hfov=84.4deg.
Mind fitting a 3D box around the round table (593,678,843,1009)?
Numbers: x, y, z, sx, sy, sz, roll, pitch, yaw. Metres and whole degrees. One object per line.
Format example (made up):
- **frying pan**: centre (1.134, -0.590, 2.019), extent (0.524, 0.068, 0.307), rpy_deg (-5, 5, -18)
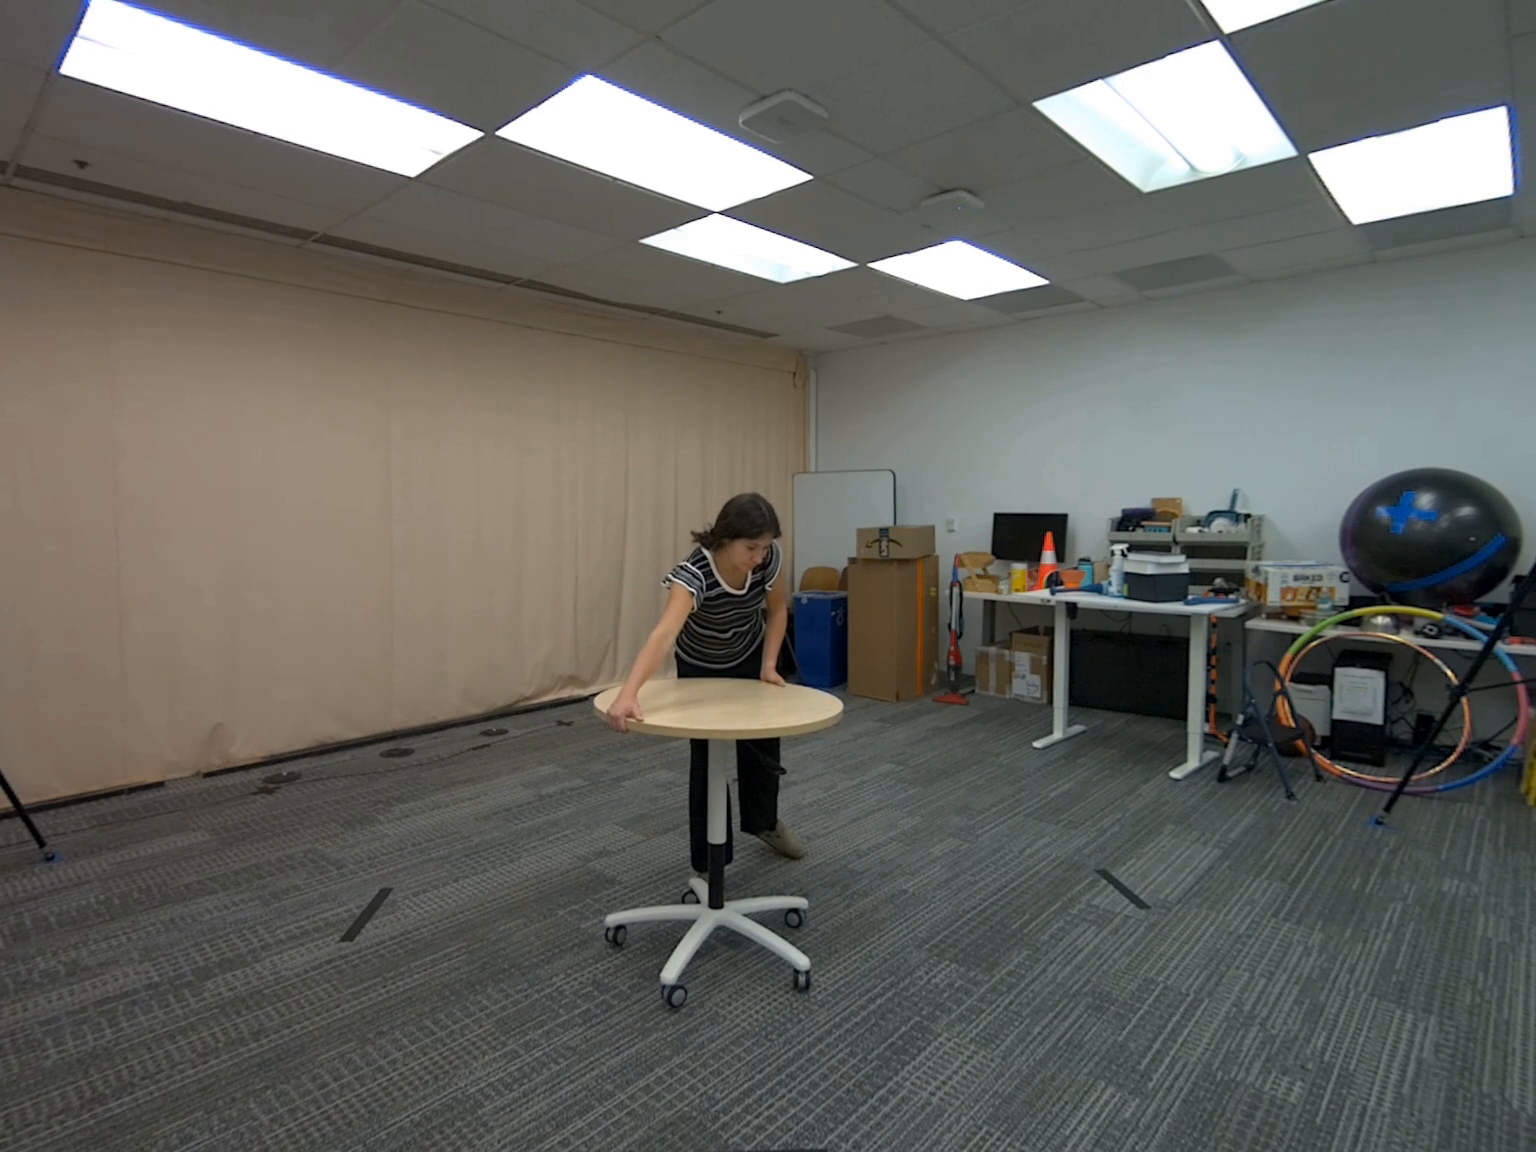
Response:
- **round table**: centre (-0.160, 0.775, 2.615), extent (0.763, 0.793, 0.766), rpy_deg (1, 2, -2)
